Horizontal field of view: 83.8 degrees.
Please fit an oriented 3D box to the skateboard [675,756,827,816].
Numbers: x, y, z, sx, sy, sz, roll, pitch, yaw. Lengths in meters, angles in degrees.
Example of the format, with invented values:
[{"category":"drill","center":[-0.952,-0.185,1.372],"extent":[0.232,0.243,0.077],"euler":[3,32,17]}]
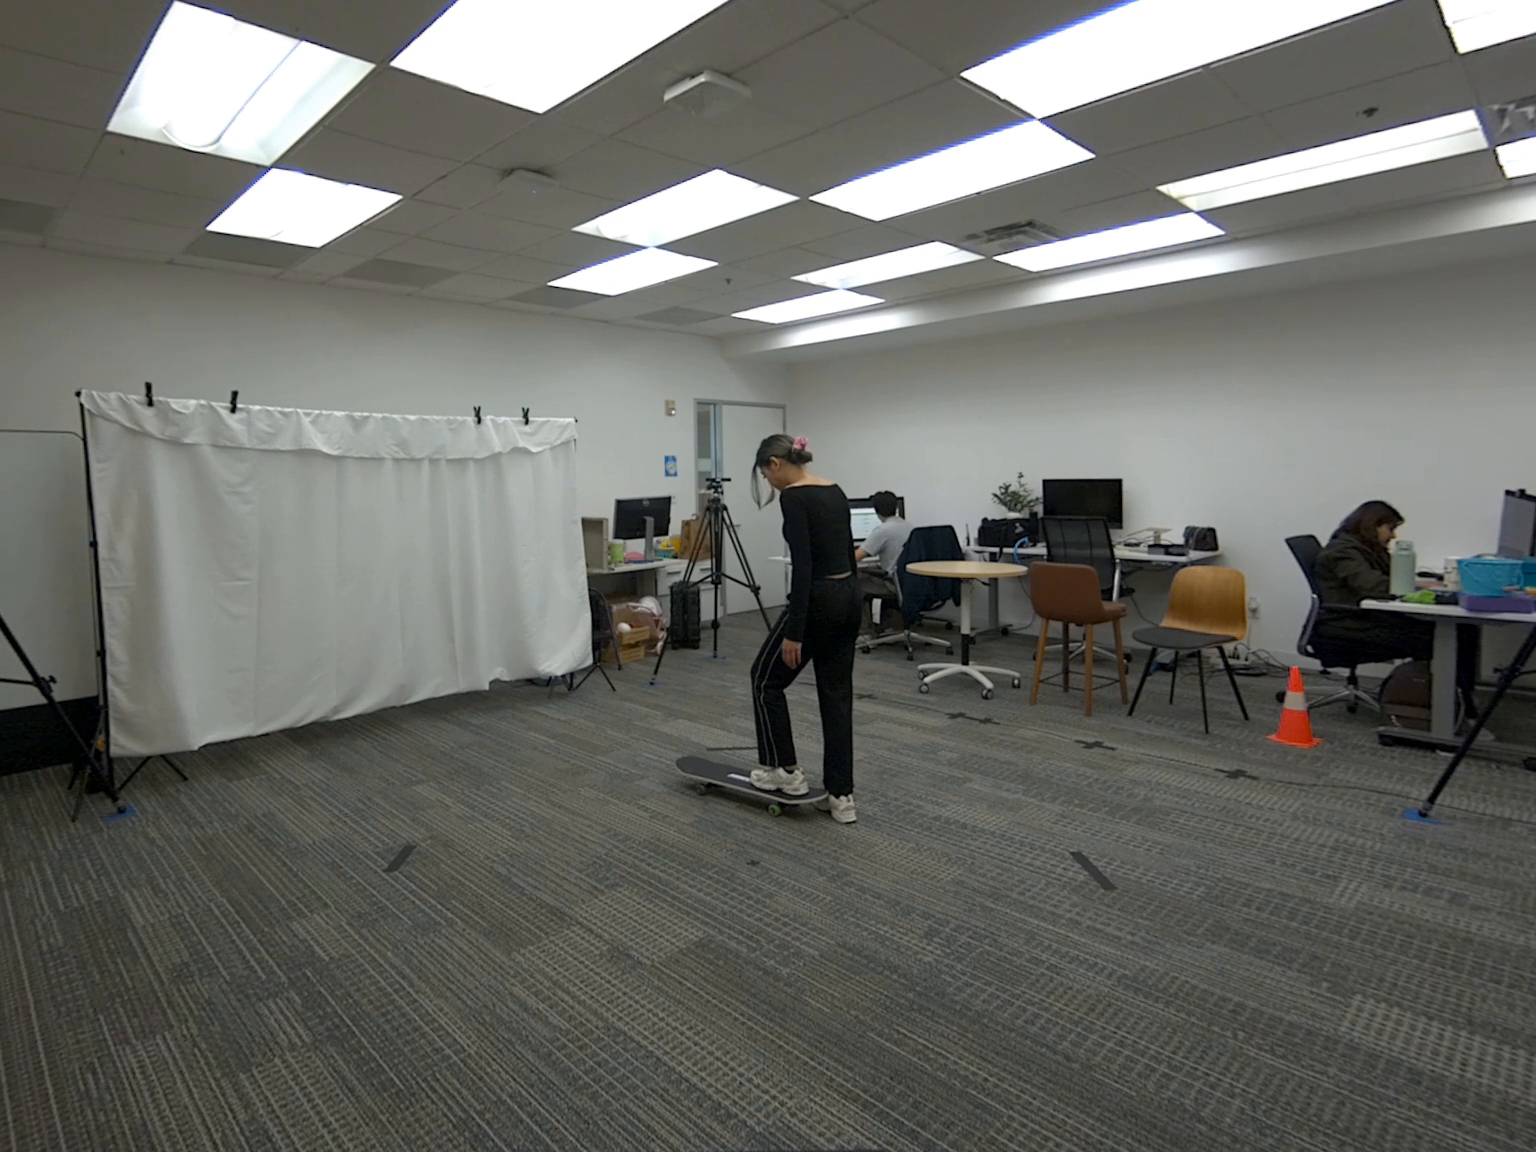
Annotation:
[{"category":"skateboard","center":[-0.086,0.925,3.718],"extent":[0.809,0.110,0.189],"euler":[5,8,38]}]
